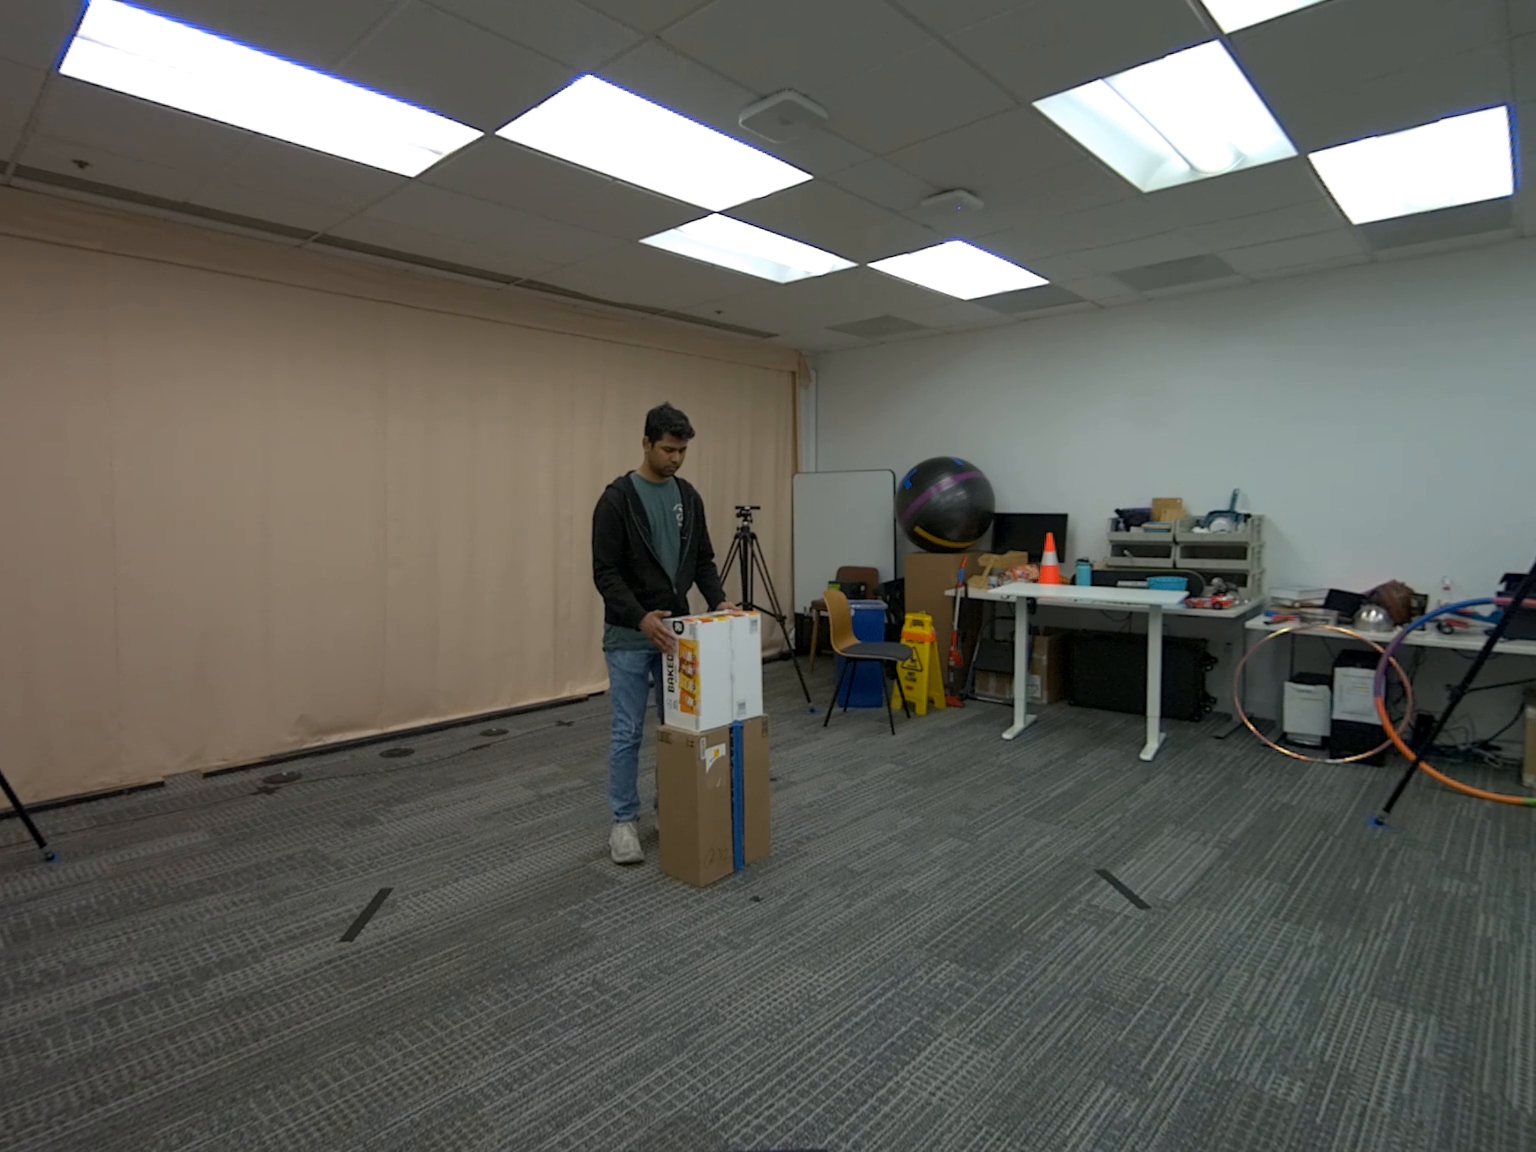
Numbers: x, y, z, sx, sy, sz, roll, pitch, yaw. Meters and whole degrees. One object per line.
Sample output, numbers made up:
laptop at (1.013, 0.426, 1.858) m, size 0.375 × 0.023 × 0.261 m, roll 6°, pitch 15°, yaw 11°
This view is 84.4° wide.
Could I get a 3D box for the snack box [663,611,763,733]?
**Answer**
snack box at (-0.206, 0.353, 3.249) m, size 0.330 × 0.404 × 0.212 m, roll -4°, pitch 3°, yaw -44°
